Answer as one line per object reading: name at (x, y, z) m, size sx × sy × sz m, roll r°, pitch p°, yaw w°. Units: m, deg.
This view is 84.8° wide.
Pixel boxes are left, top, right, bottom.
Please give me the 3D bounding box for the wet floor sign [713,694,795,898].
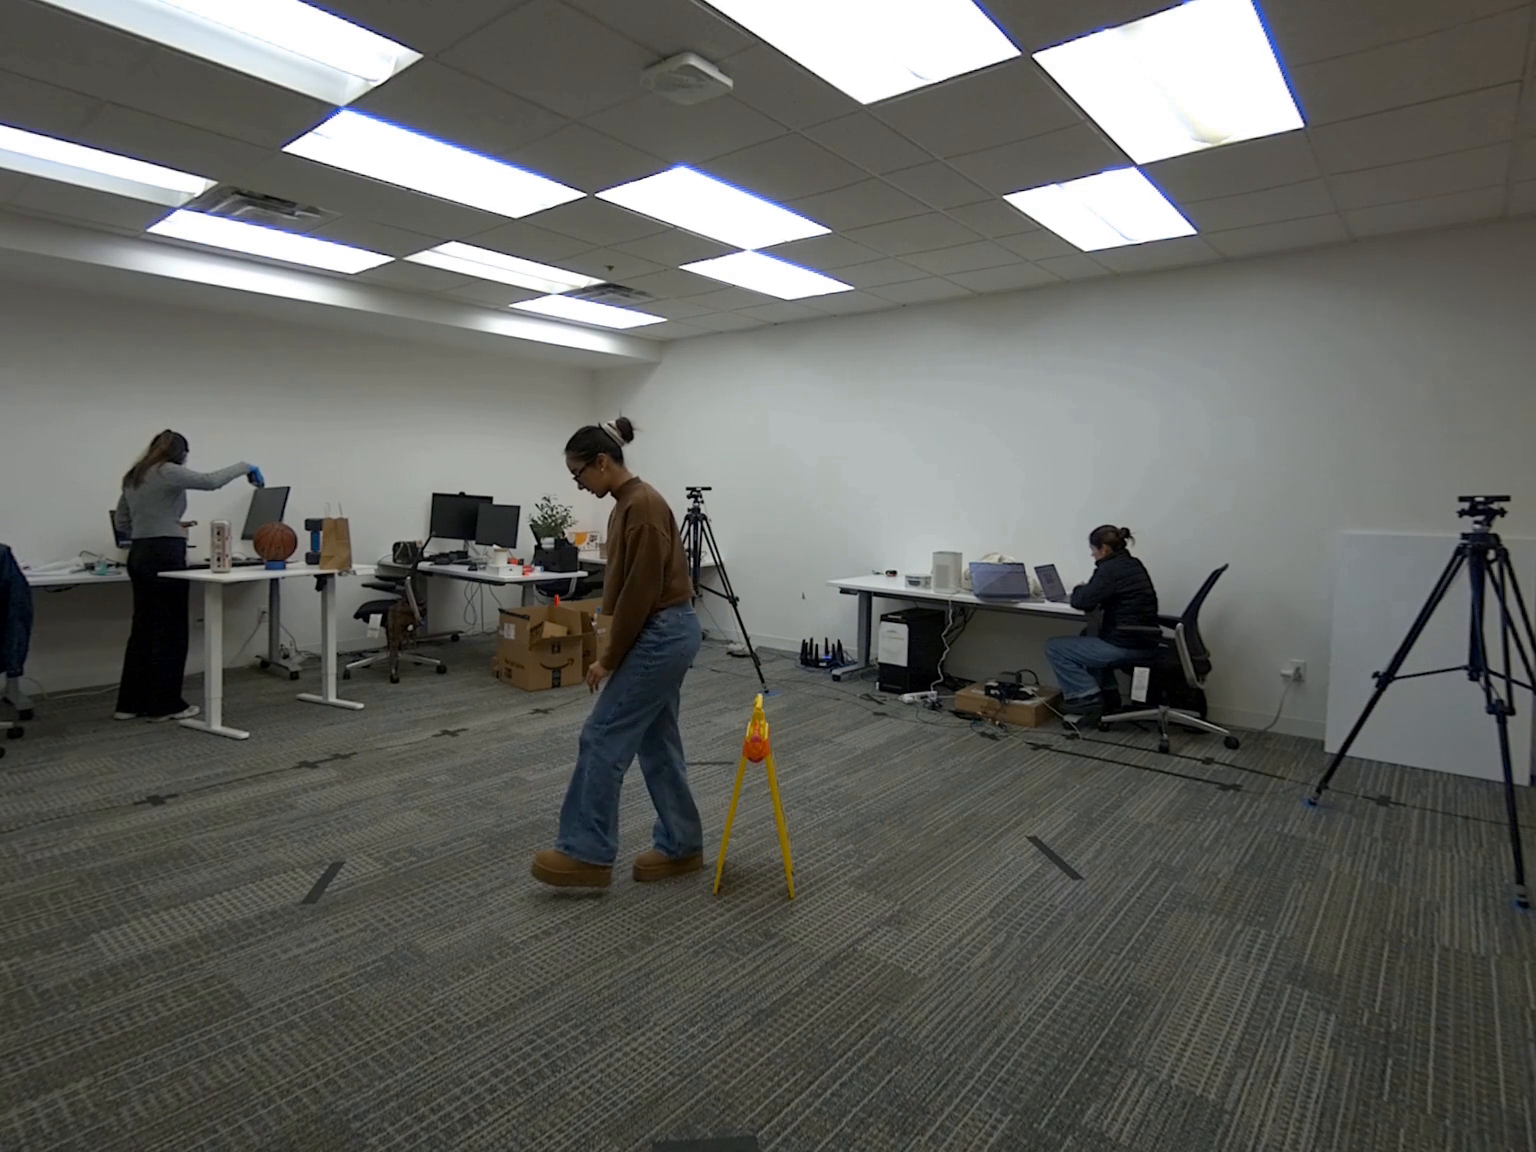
wet floor sign at (-0.047, 0.761, 3.018) m, size 0.291 × 0.644 × 0.282 m, roll 2°, pitch 4°, yaw 2°
